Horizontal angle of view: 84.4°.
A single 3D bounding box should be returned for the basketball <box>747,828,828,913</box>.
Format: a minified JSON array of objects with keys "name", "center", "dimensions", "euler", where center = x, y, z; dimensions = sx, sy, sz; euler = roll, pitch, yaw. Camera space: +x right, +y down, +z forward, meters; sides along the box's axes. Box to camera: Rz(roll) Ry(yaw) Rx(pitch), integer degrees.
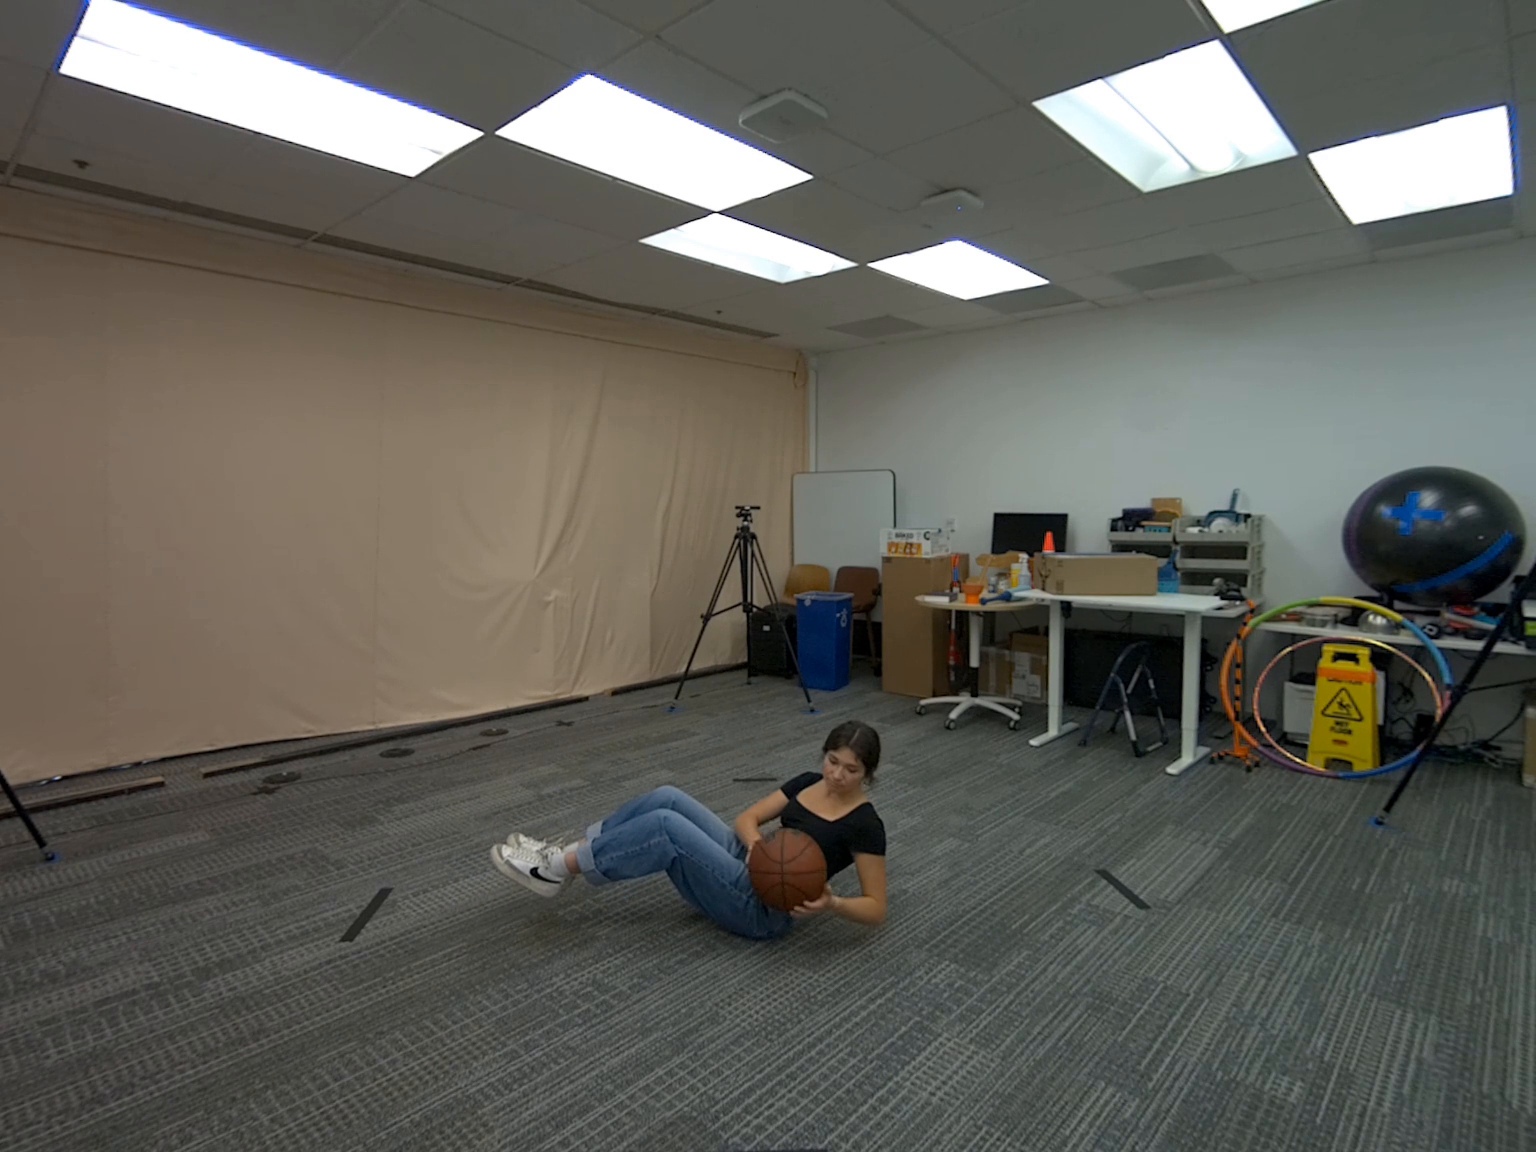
[{"name":"basketball","center":[0.057,0.890,2.562],"dimensions":[0.236,0.235,0.237],"euler":[0,4,-2]}]
